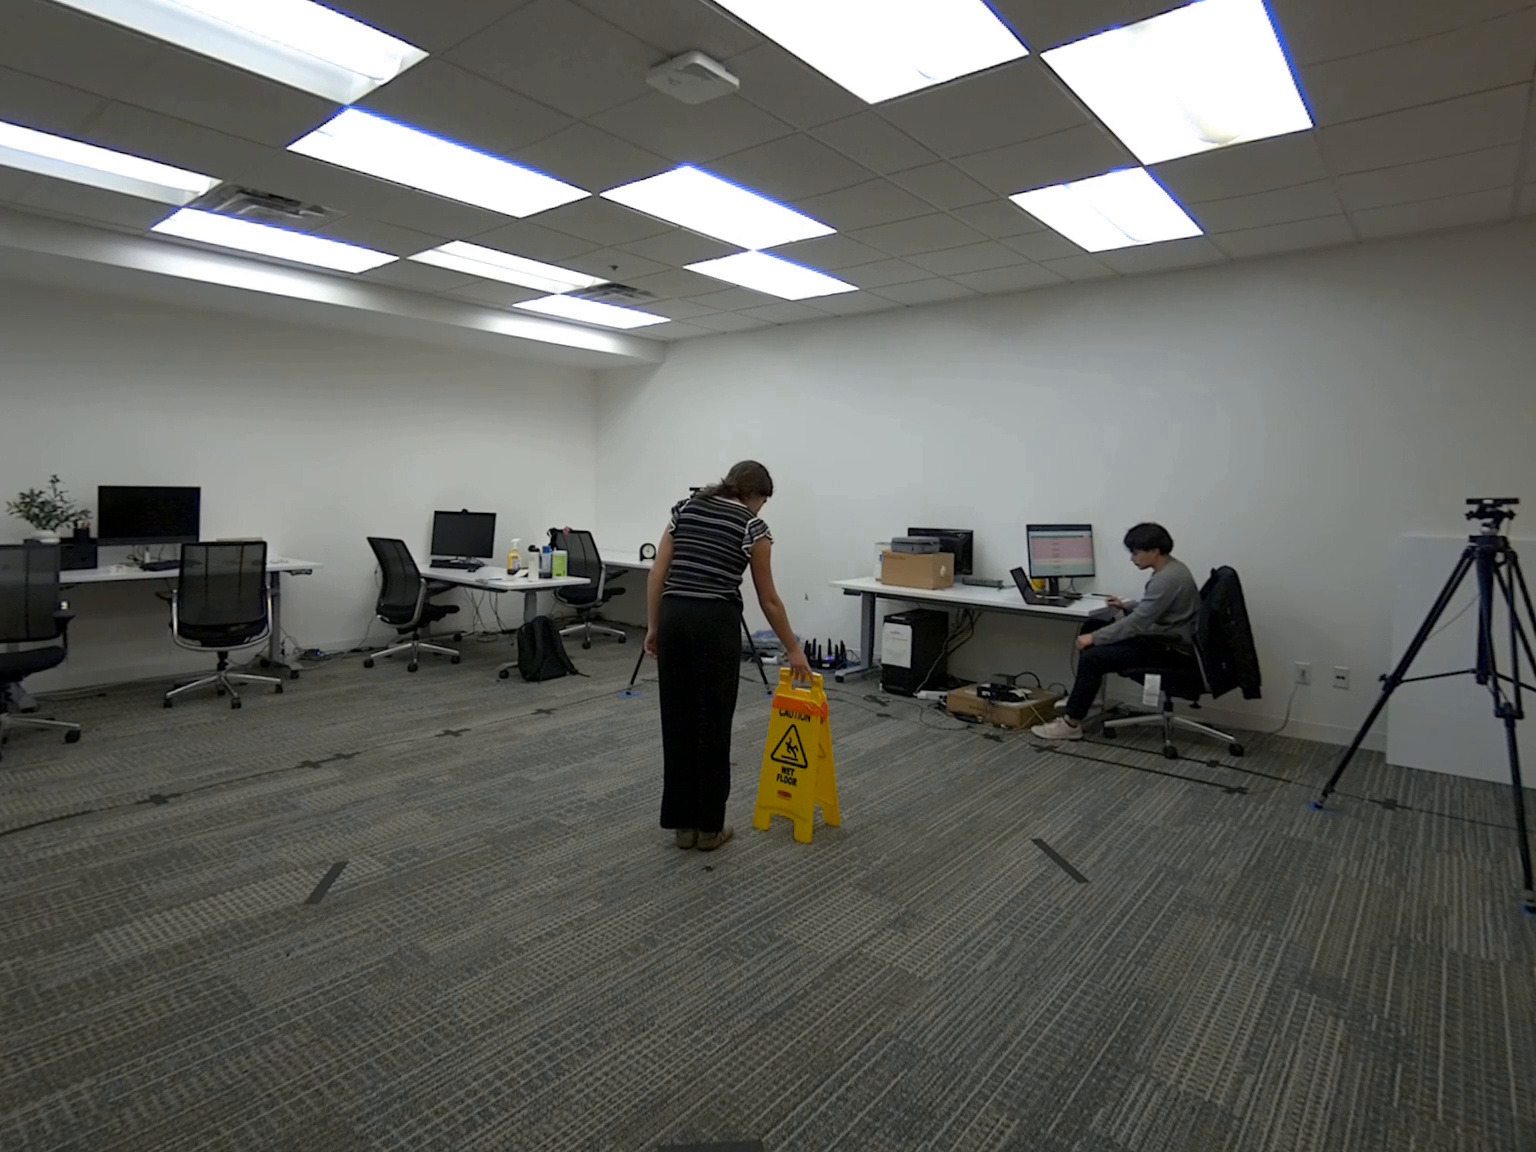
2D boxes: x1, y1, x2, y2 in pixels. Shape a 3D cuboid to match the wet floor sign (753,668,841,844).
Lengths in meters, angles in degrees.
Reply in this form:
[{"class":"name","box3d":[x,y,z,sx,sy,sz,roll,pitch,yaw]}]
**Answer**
[{"class":"wet floor sign","box3d":[0.117,0.710,3.507,0.291,0.645,0.281,4,2,36]}]
